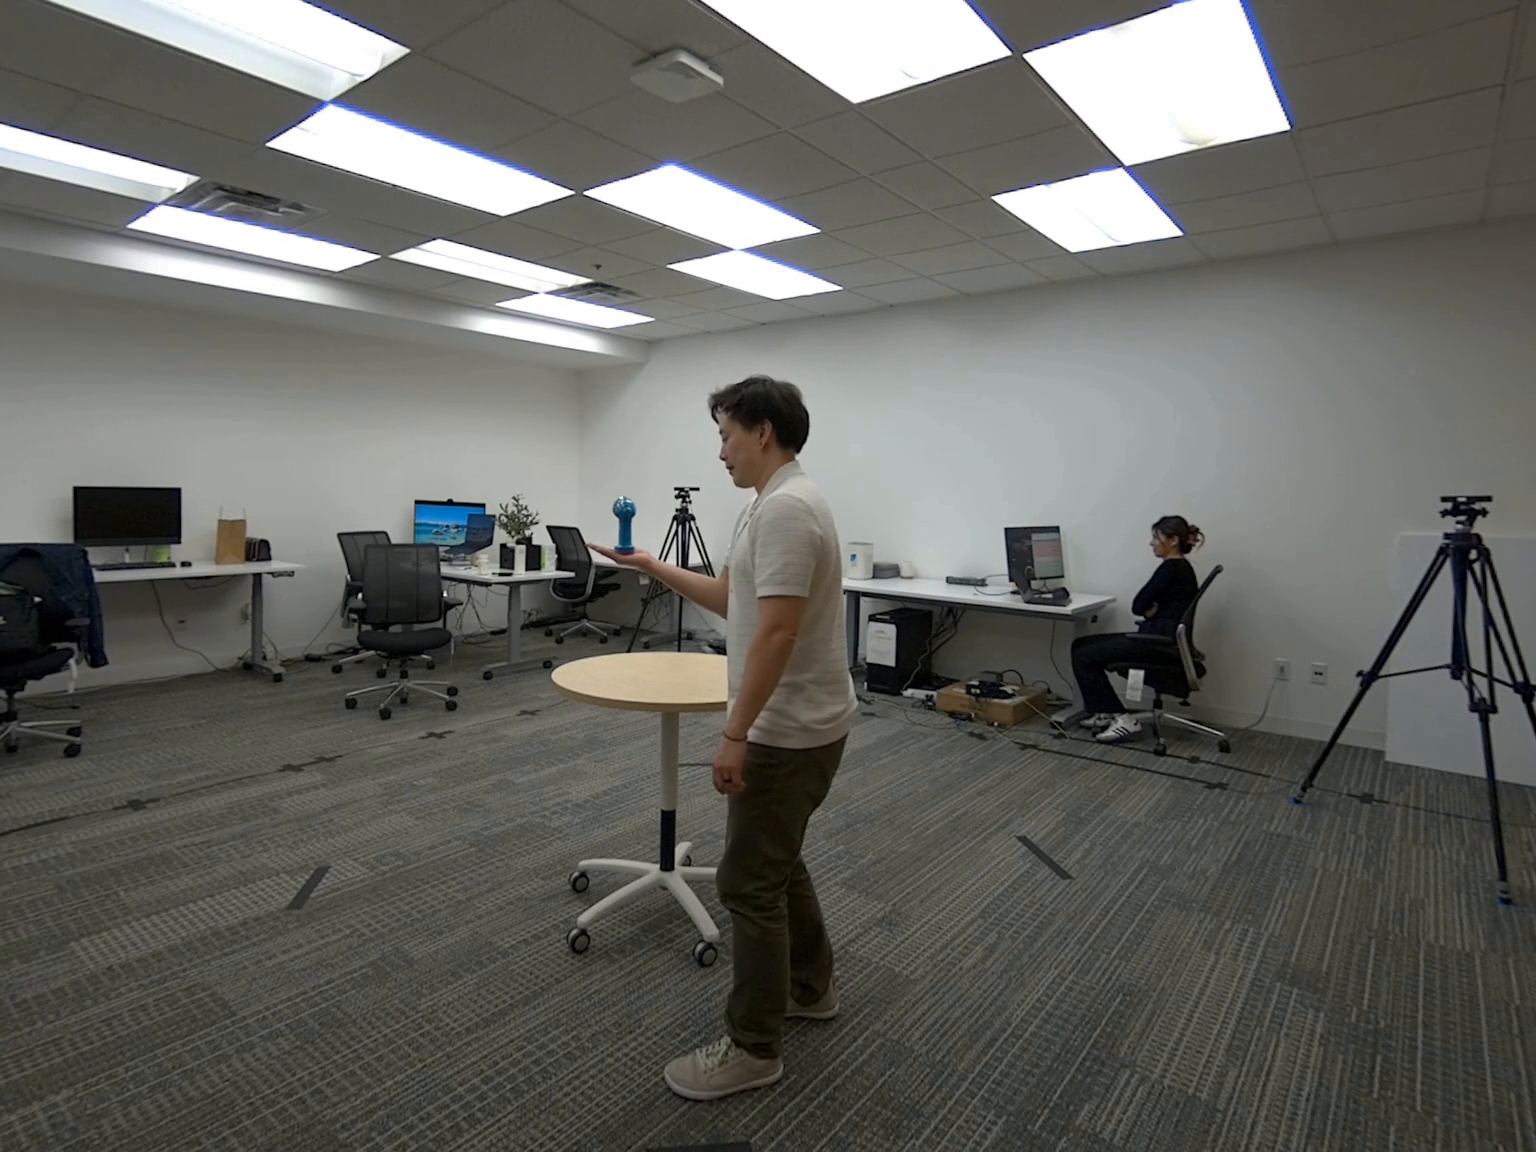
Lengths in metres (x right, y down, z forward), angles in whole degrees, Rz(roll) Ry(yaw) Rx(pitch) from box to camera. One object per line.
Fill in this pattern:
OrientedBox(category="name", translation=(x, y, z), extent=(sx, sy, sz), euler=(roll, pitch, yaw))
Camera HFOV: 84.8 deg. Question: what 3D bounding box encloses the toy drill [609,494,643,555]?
OrientedBox(category="toy drill", translation=(-0.385, -0.140, 2.256), extent=(0.060, 0.145, 0.173), euler=(3, 7, -16))
